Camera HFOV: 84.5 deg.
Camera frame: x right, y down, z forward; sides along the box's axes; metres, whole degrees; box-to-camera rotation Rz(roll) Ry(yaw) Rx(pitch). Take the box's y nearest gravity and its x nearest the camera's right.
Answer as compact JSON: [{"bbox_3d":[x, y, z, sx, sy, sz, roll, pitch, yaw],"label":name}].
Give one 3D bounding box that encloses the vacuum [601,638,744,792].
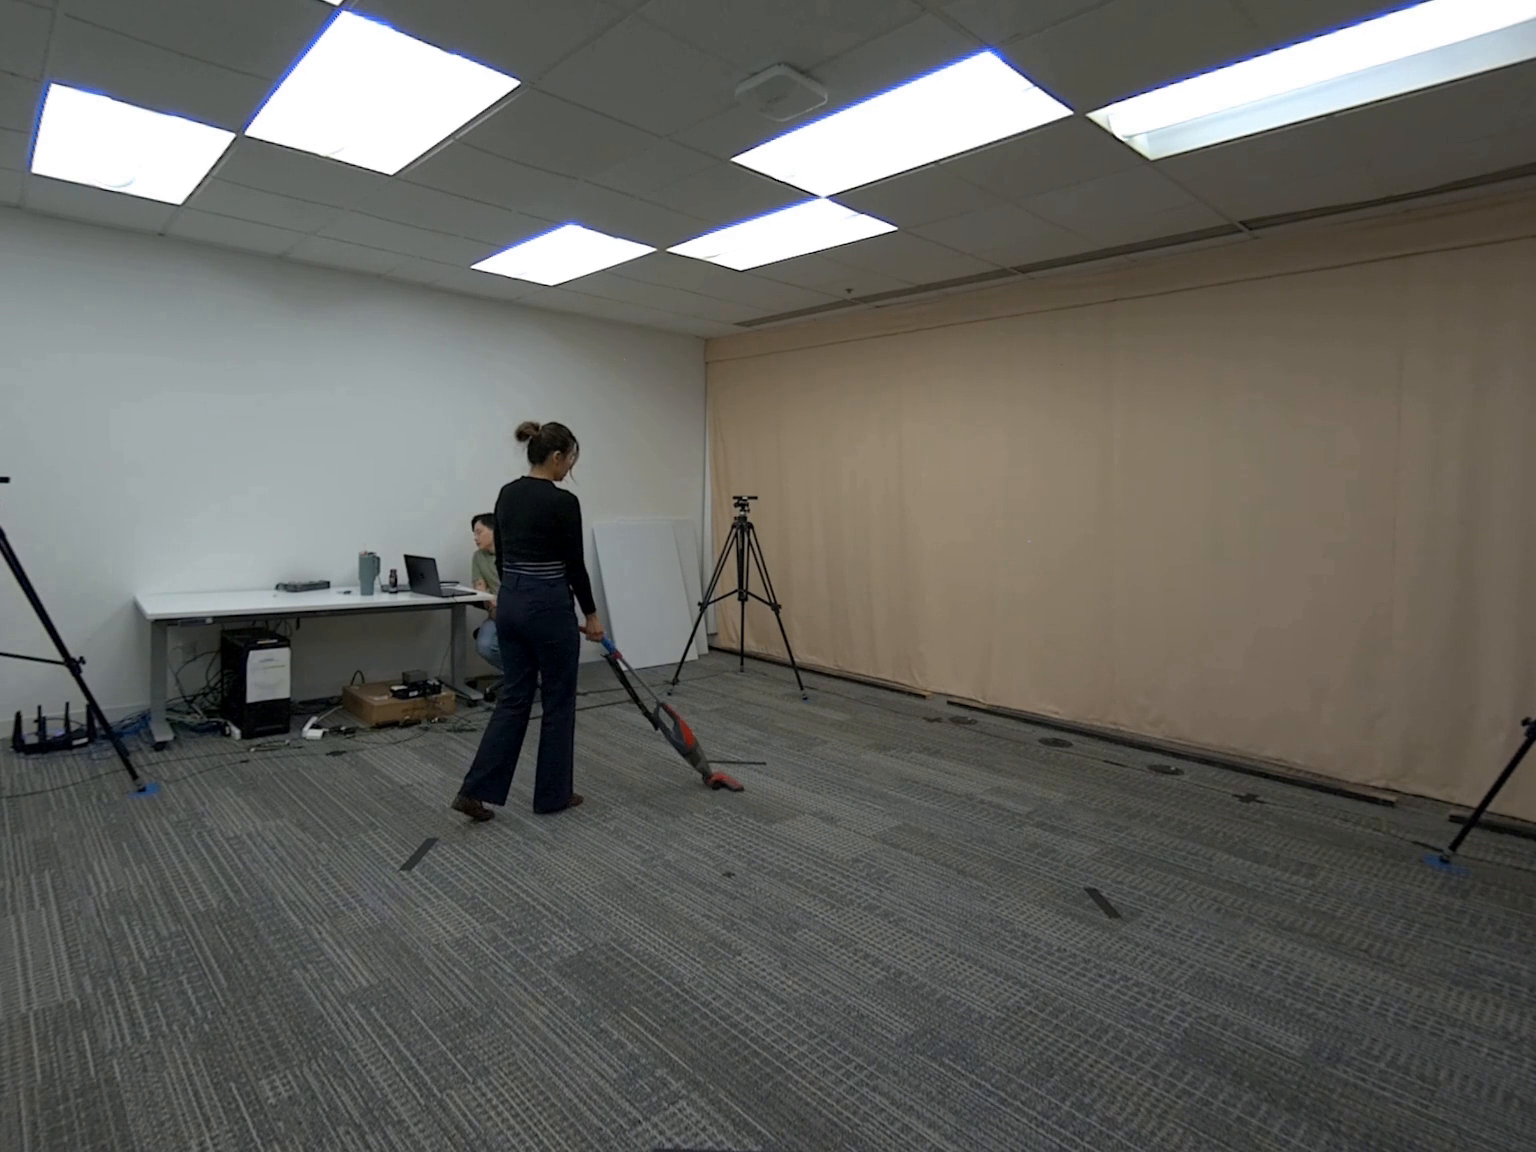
[{"bbox_3d":[-0.541,0.637,3.936,0.144,1.030,0.257,-49,20,-26],"label":"vacuum"}]
